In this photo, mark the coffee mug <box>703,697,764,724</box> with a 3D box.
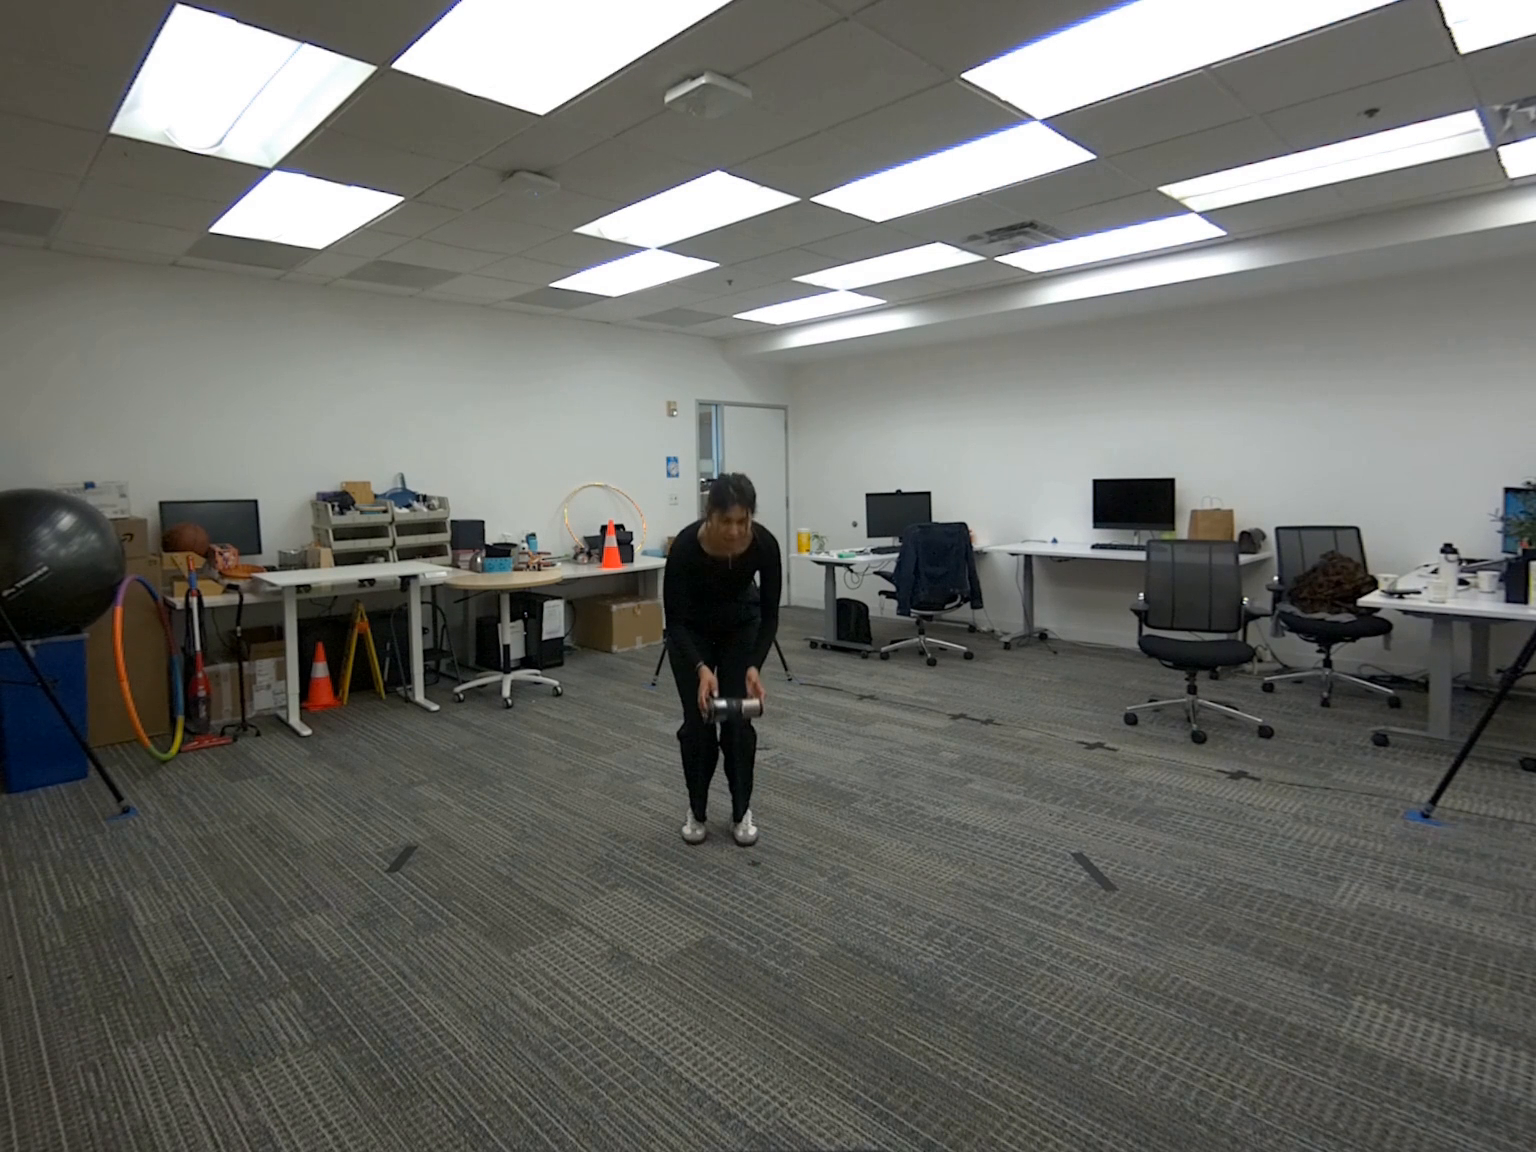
[{"bbox_3d":[-0.120,0.505,2.974,0.200,0.087,0.125,20,24,-14],"label":"coffee mug"}]
